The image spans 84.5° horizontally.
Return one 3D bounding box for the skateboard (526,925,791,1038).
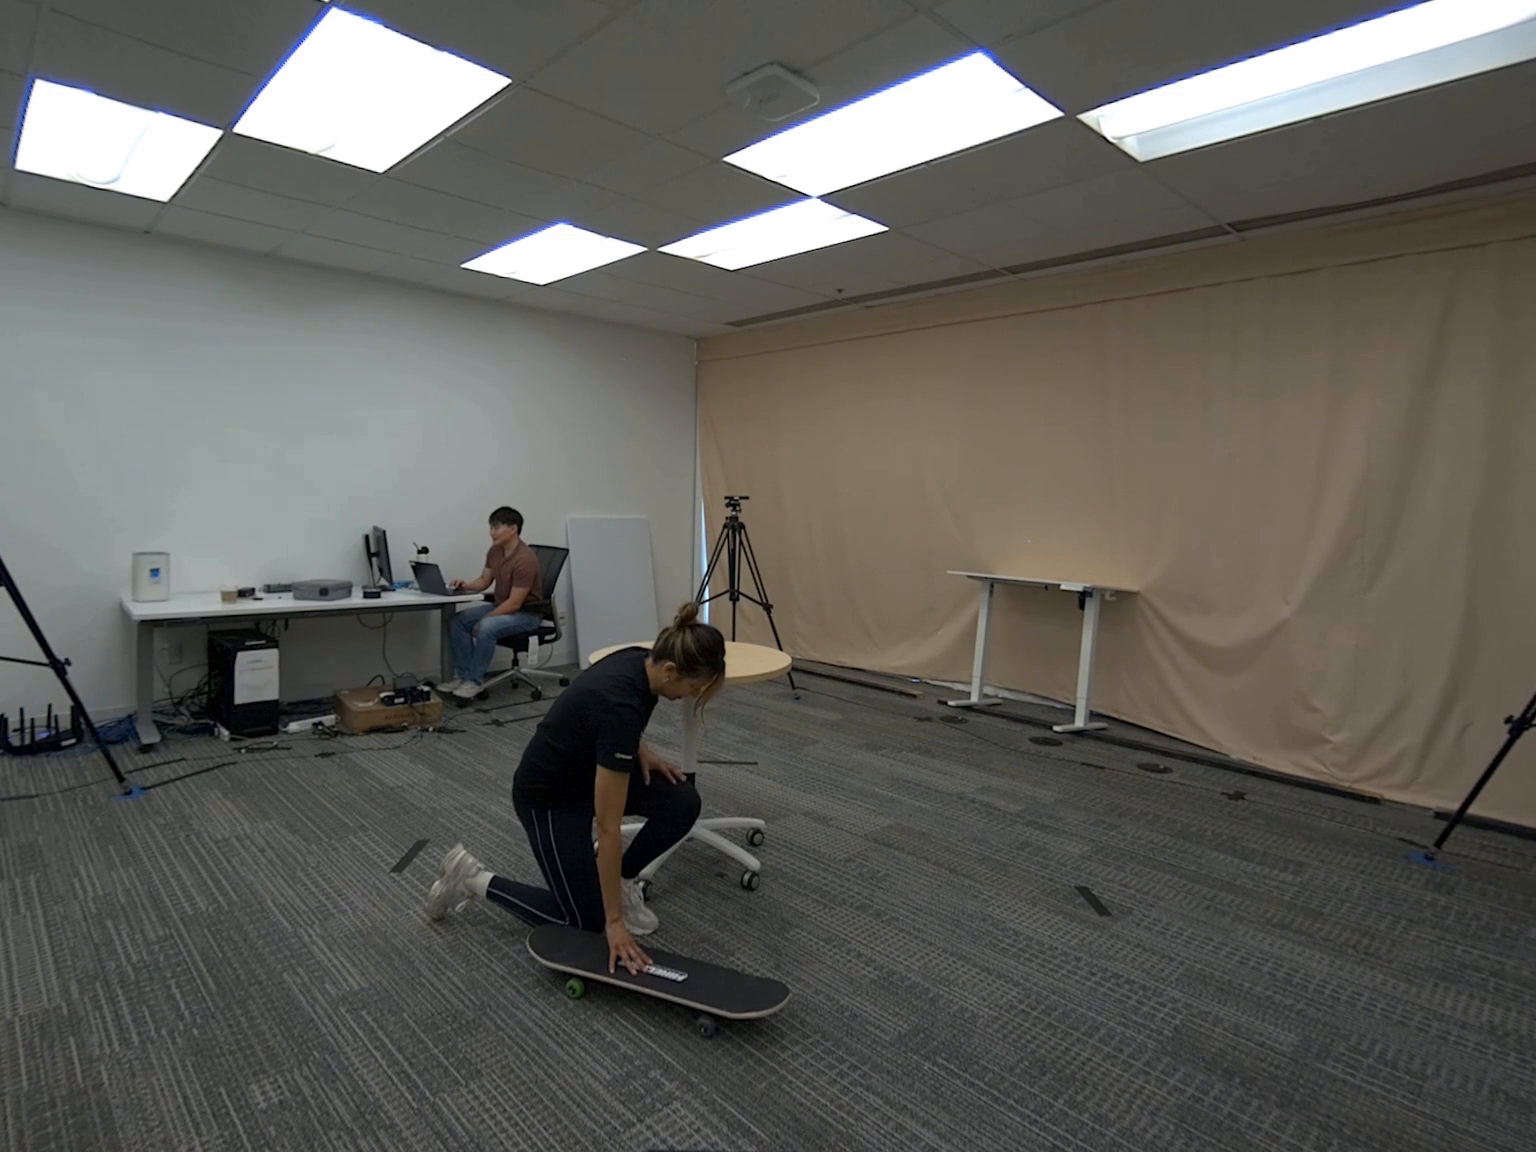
[{"bbox_3d":[-0.323,1.123,2.313,0.798,0.110,0.191,2,4,21],"label":"skateboard"}]
